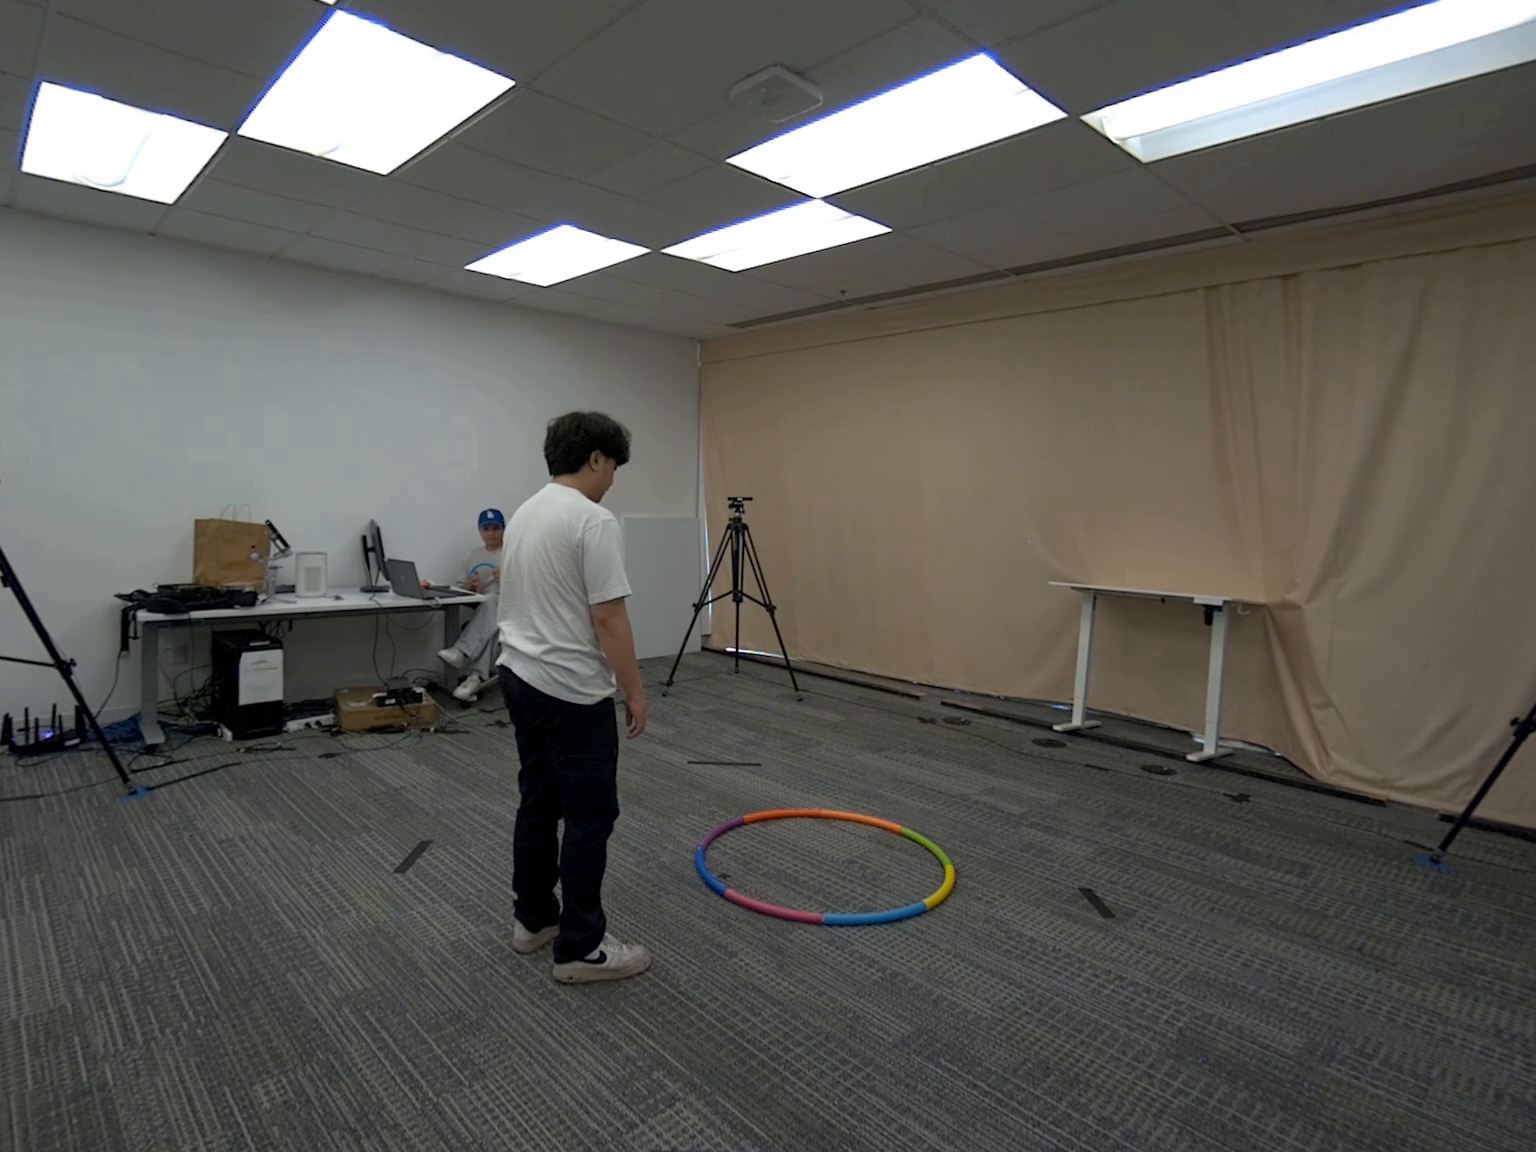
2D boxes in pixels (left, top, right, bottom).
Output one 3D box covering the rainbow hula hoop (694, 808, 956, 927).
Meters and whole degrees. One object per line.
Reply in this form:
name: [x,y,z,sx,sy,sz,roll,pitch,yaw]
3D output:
rainbow hula hoop: [0.204,1.077,3.241,0.985,0.051,0.989,1,6,-1]
